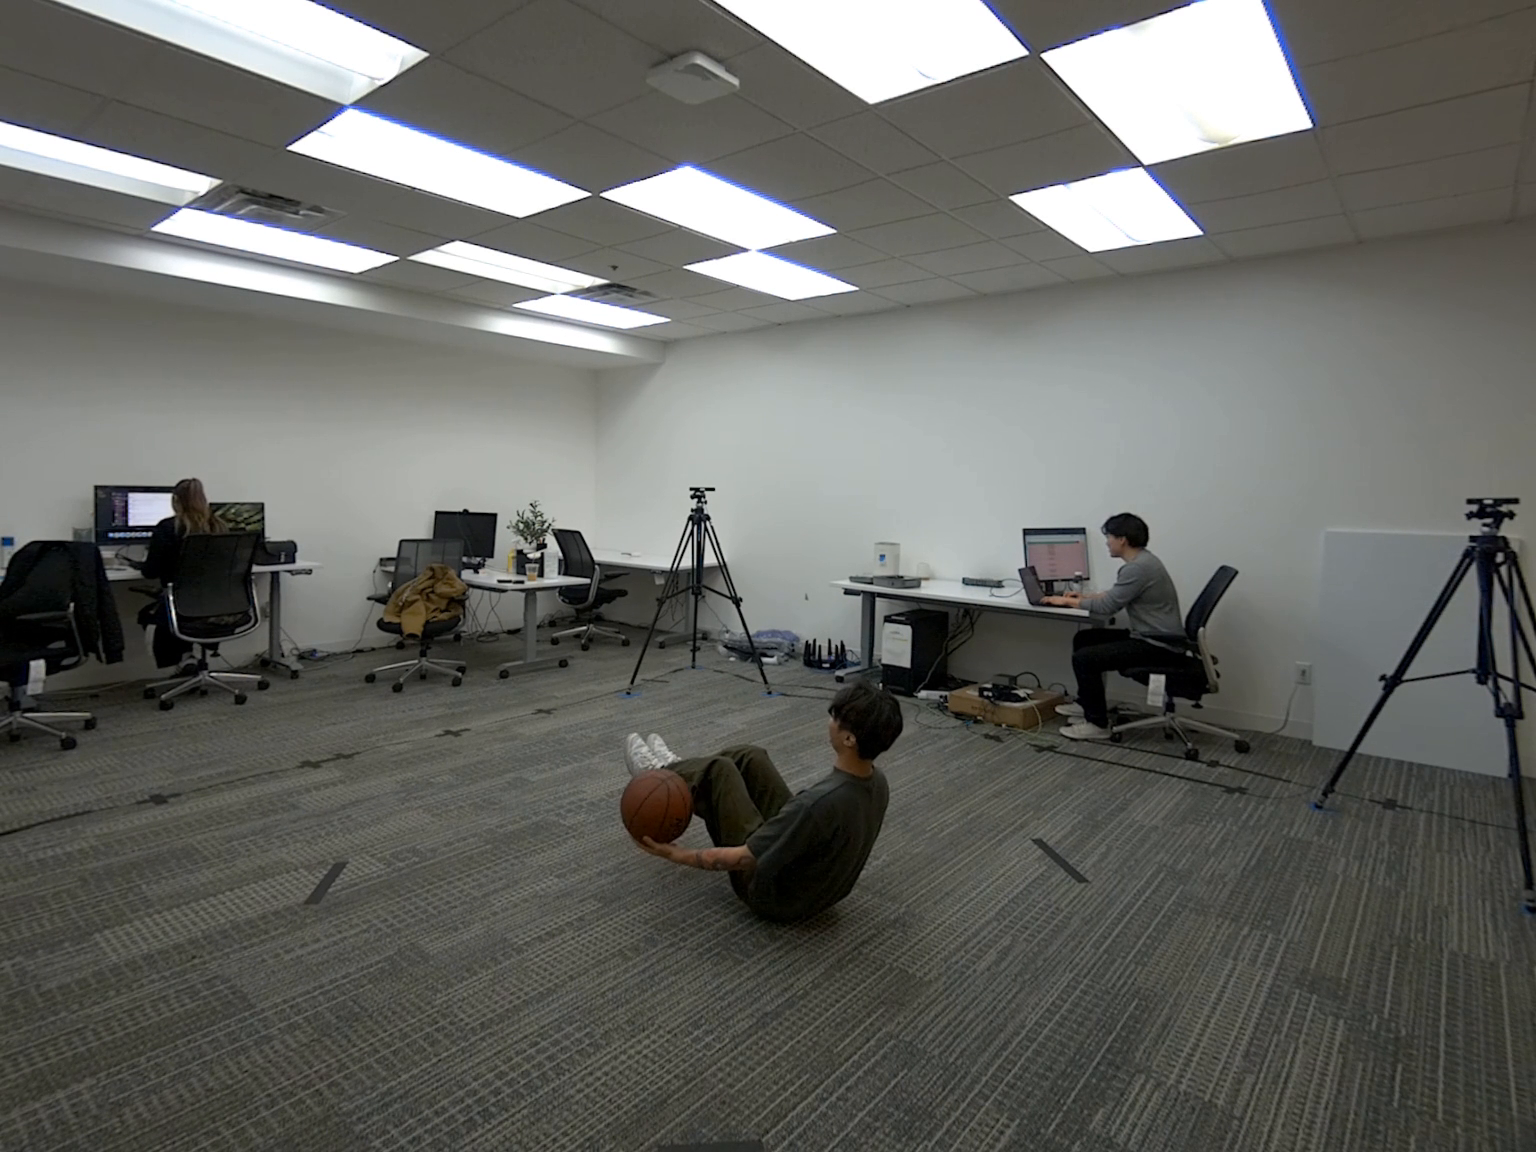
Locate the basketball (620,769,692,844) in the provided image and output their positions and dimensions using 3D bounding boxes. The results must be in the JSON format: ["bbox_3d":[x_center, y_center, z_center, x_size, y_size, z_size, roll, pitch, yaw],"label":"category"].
[{"bbox_3d":[-0.362,0.740,2.778,0.235,0.235,0.237,1,4,-2],"label":"basketball"}]
